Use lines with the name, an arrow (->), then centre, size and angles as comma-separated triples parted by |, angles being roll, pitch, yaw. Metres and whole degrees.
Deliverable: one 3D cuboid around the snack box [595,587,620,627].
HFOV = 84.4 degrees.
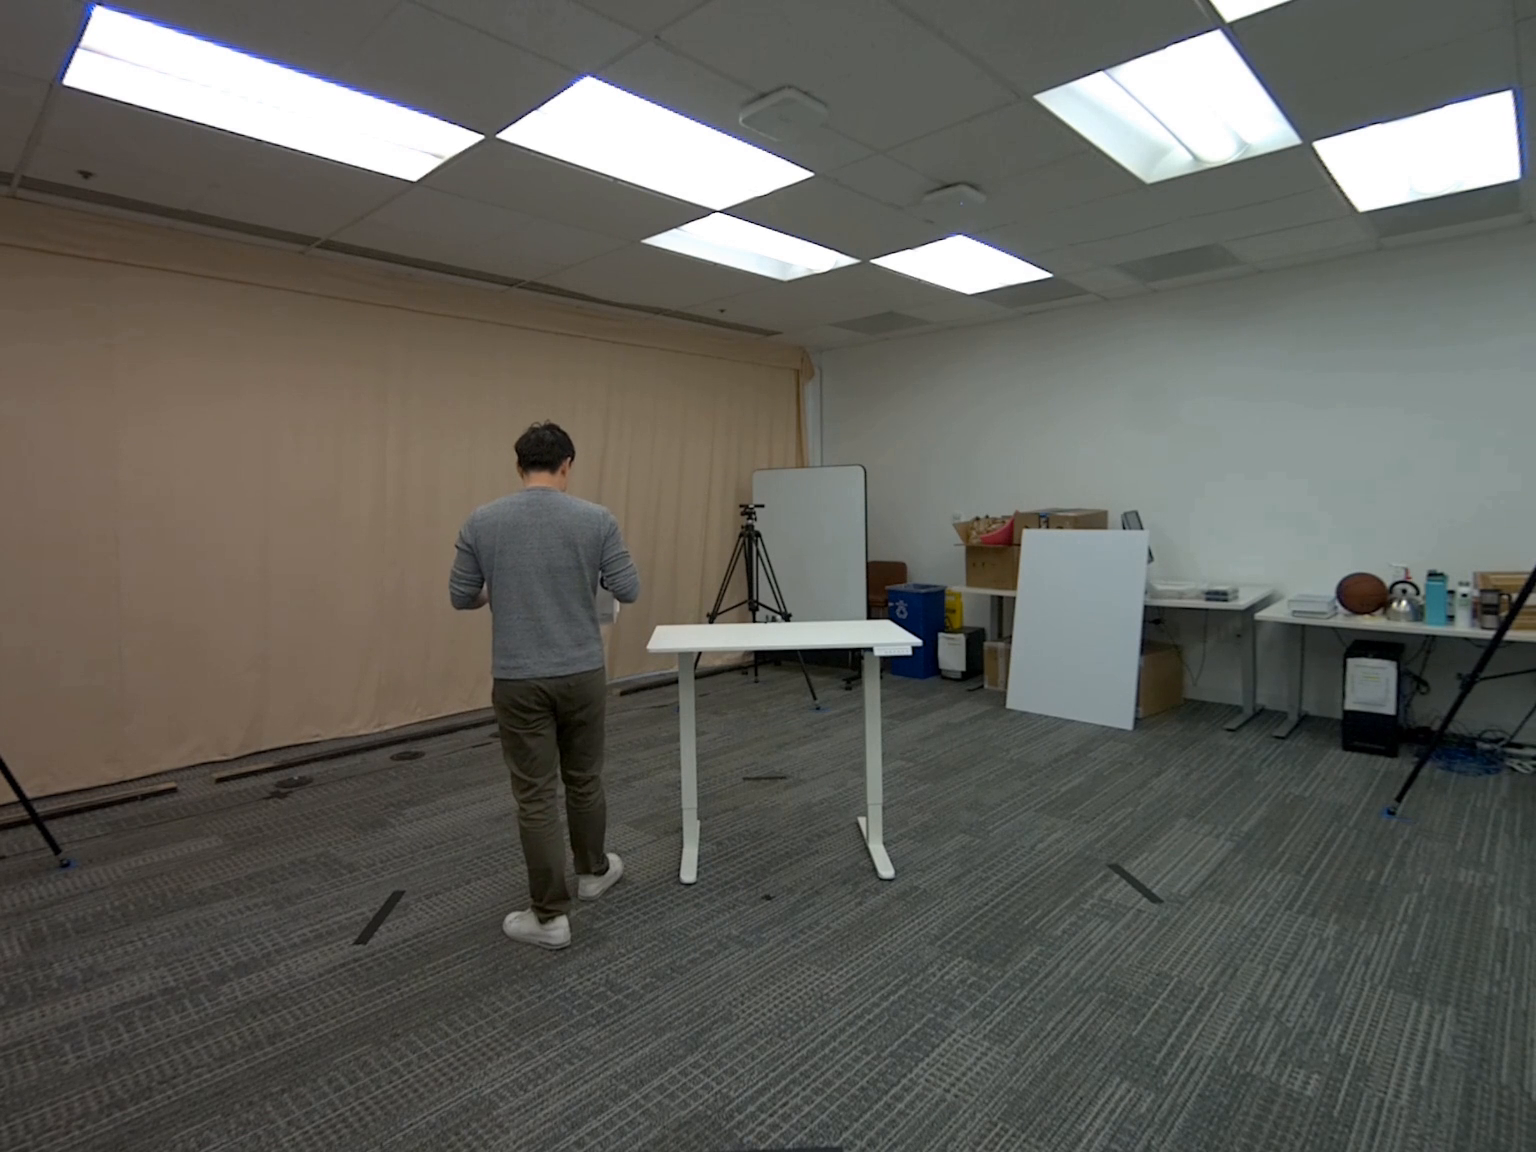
snack box -> -0.784, 0.074, 3.188 | 0.403, 0.205, 0.343 | -2, 5, -5
